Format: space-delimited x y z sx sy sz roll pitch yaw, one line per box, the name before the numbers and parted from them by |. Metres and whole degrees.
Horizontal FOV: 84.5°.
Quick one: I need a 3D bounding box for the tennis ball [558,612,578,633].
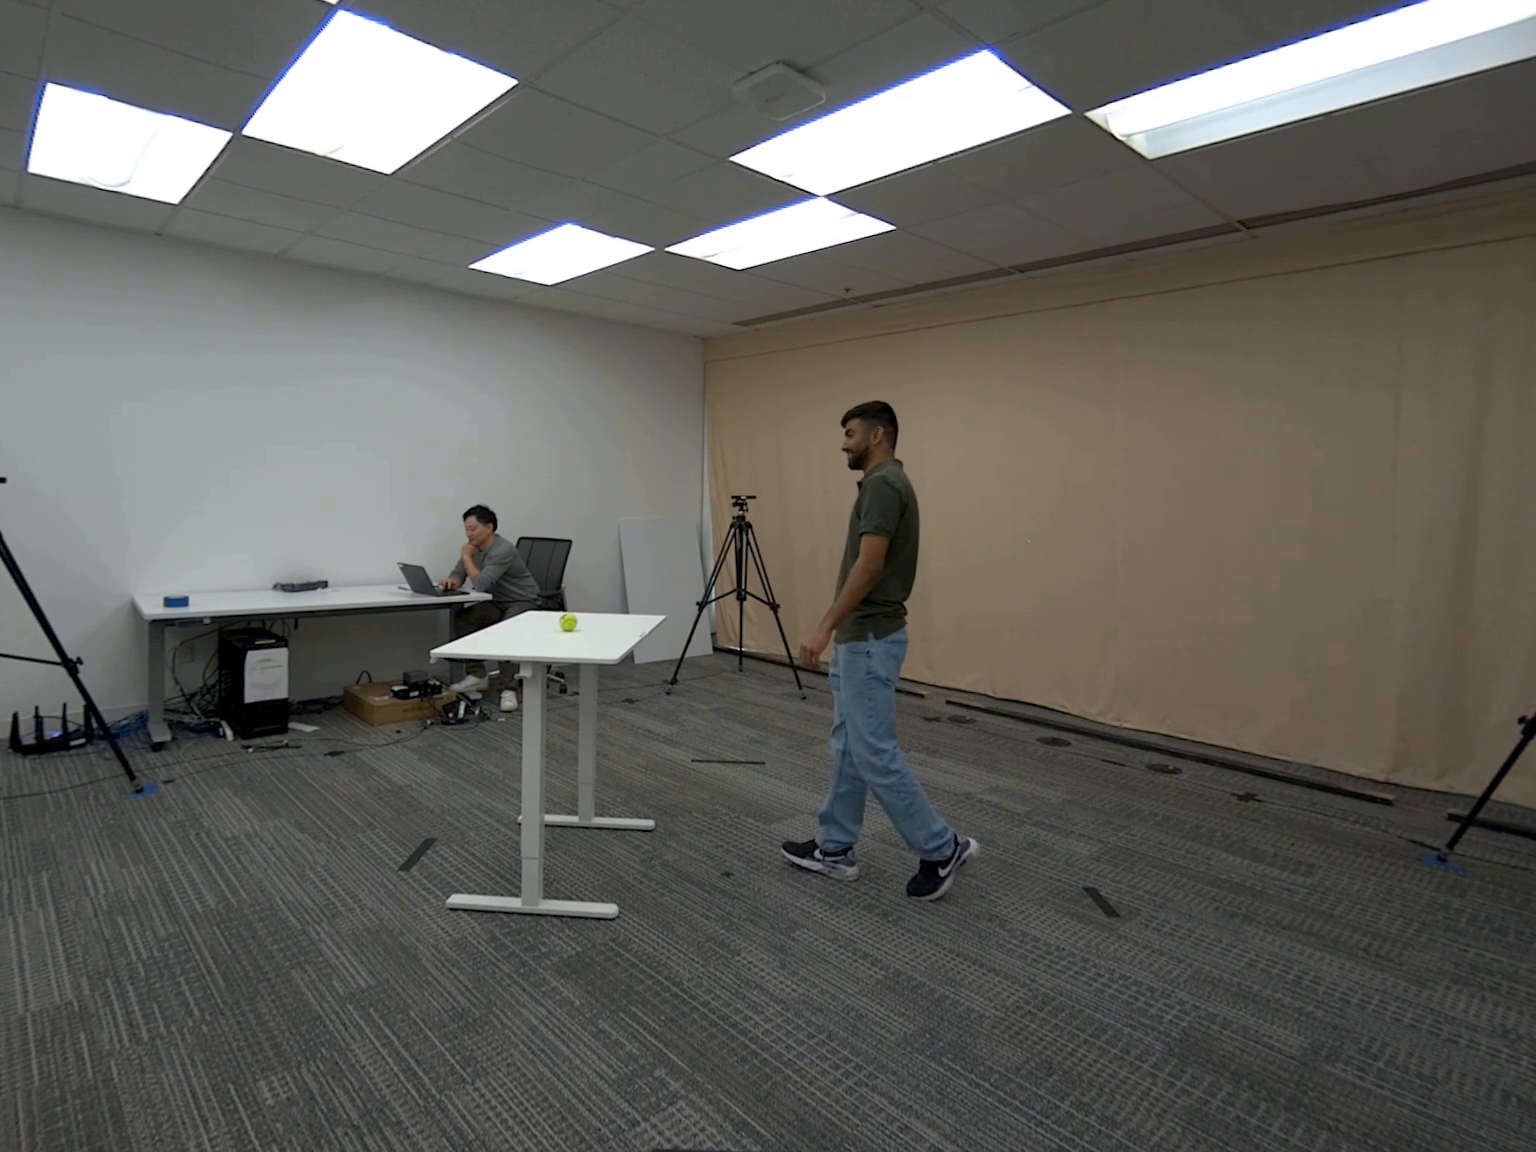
tennis ball | -0.737 0.171 3.134 0.066 0.066 0.067 1 4 -1
